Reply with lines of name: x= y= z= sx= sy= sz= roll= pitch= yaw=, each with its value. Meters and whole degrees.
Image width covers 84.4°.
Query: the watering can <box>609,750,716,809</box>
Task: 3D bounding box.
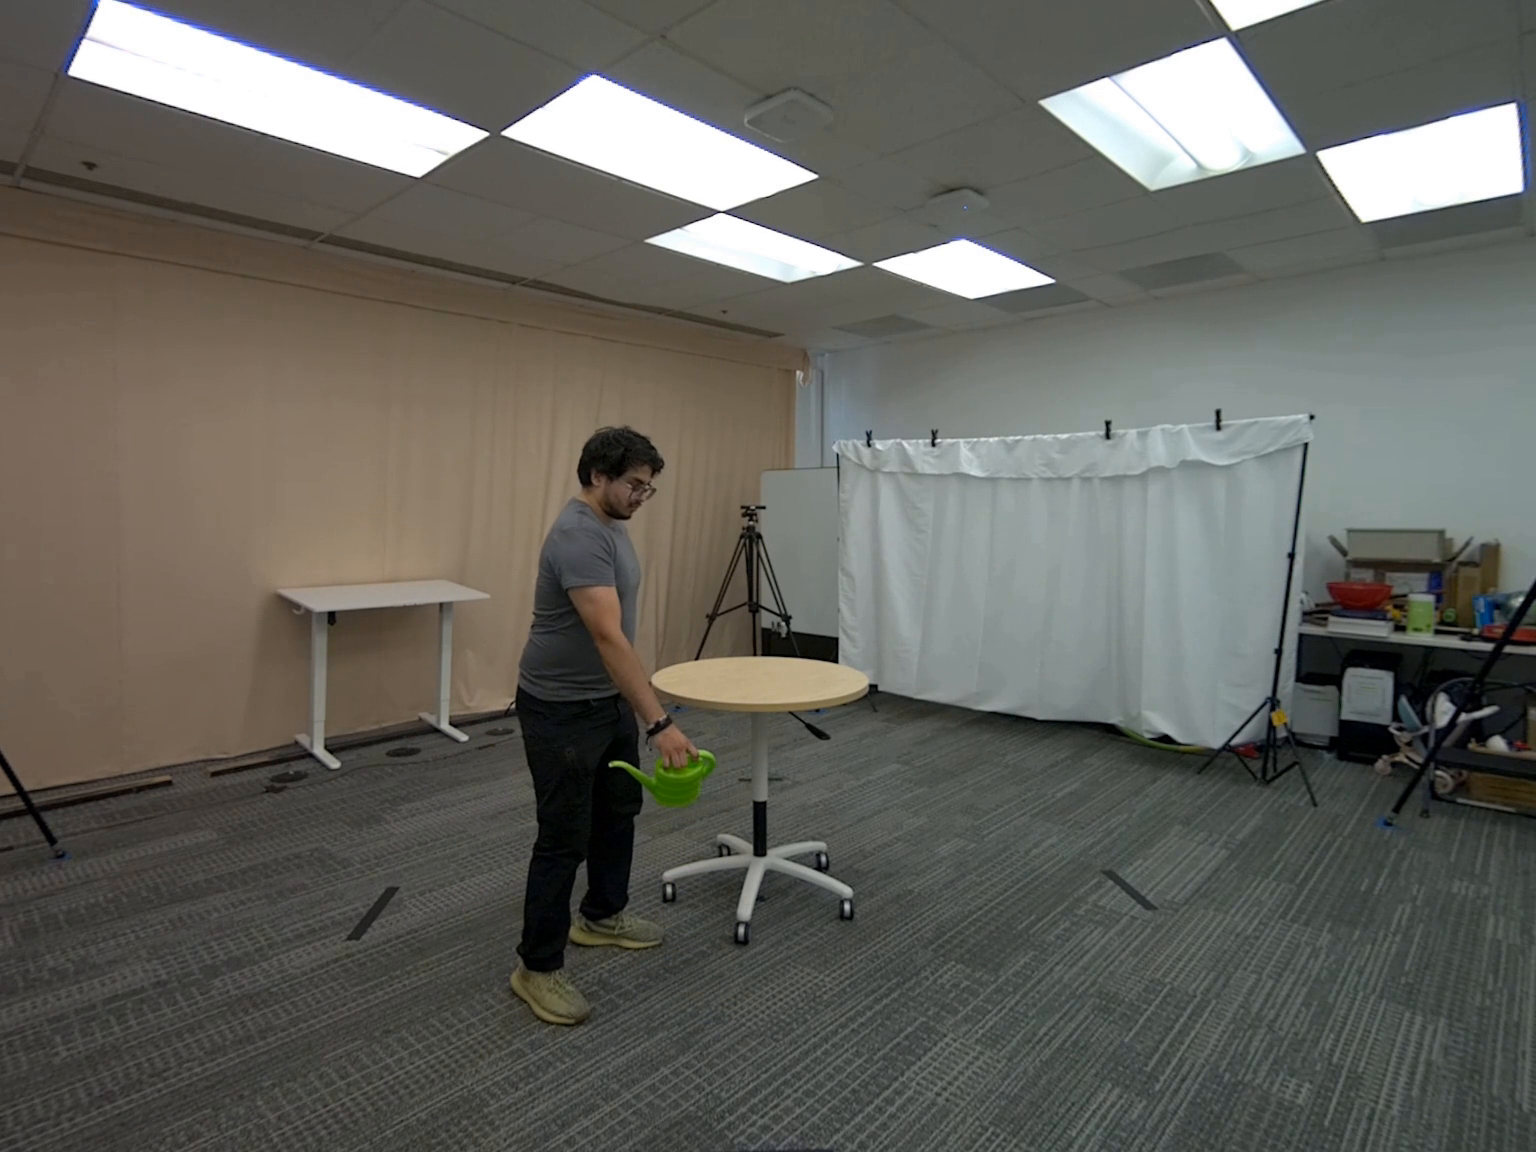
watering can: x=-0.287 y=0.526 z=2.212 sx=0.277 sy=0.174 sz=0.100 roll=5 pitch=40 yaw=-3
